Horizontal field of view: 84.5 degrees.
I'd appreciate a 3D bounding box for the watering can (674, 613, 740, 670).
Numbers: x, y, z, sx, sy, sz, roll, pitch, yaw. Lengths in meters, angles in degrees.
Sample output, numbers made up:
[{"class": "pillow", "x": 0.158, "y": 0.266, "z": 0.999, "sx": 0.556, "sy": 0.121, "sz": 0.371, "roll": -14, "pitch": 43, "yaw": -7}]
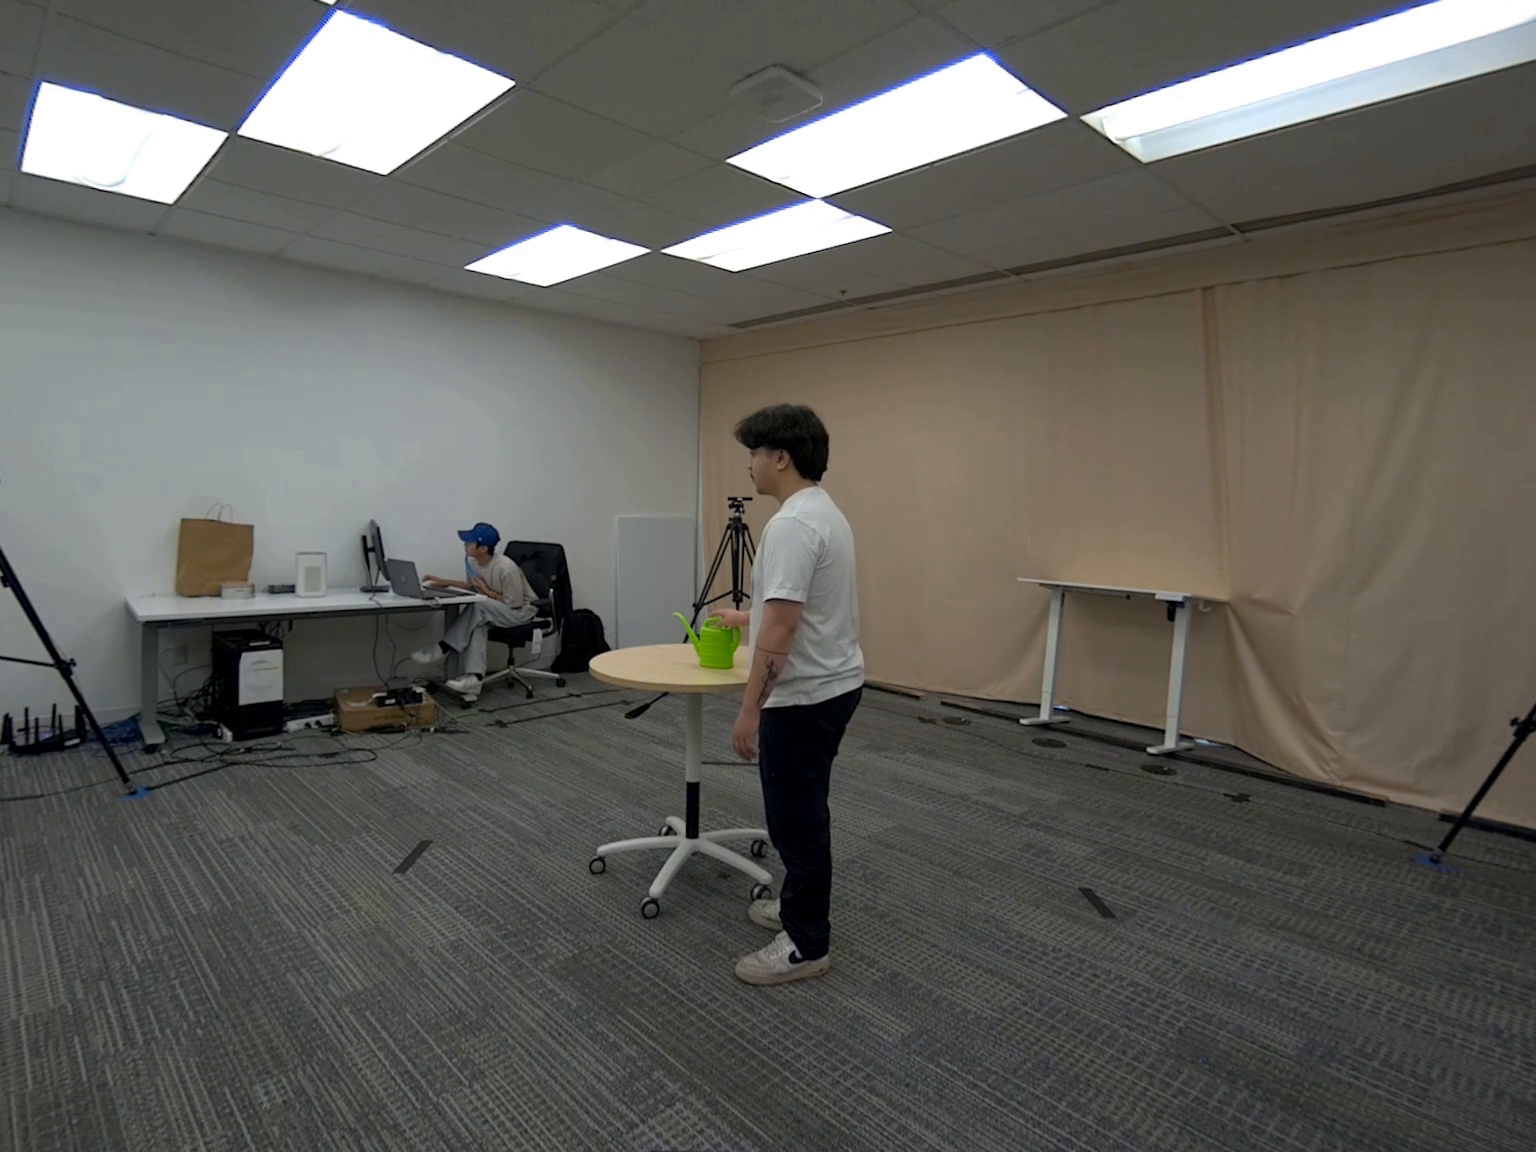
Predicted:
[{"class": "watering can", "x": -0.225, "y": 0.235, "z": 3.029, "sx": 0.285, "sy": 0.176, "sz": 0.096, "roll": 6, "pitch": 6, "yaw": 39}]
